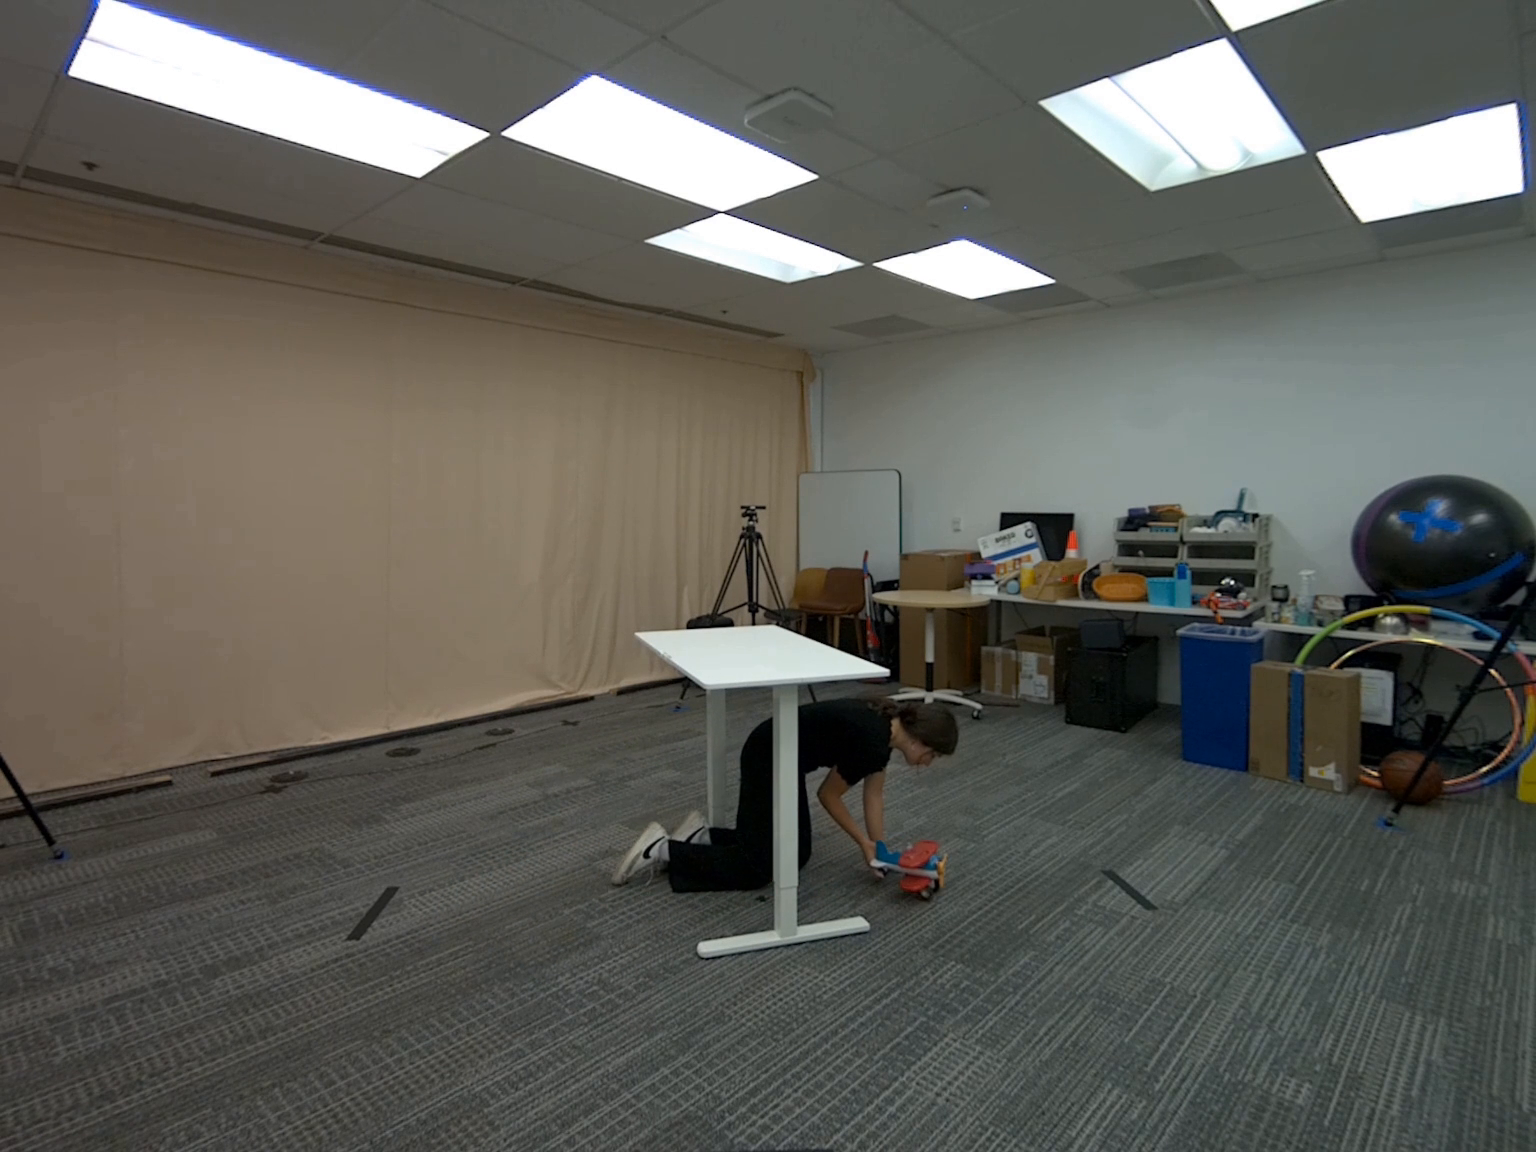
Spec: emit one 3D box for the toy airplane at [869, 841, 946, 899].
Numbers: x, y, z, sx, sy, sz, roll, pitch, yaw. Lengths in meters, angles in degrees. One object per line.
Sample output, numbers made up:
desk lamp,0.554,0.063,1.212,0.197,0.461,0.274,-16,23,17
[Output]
toy airplane,0.509,1.051,3.023,0.259,0.156,0.252,9,10,0
